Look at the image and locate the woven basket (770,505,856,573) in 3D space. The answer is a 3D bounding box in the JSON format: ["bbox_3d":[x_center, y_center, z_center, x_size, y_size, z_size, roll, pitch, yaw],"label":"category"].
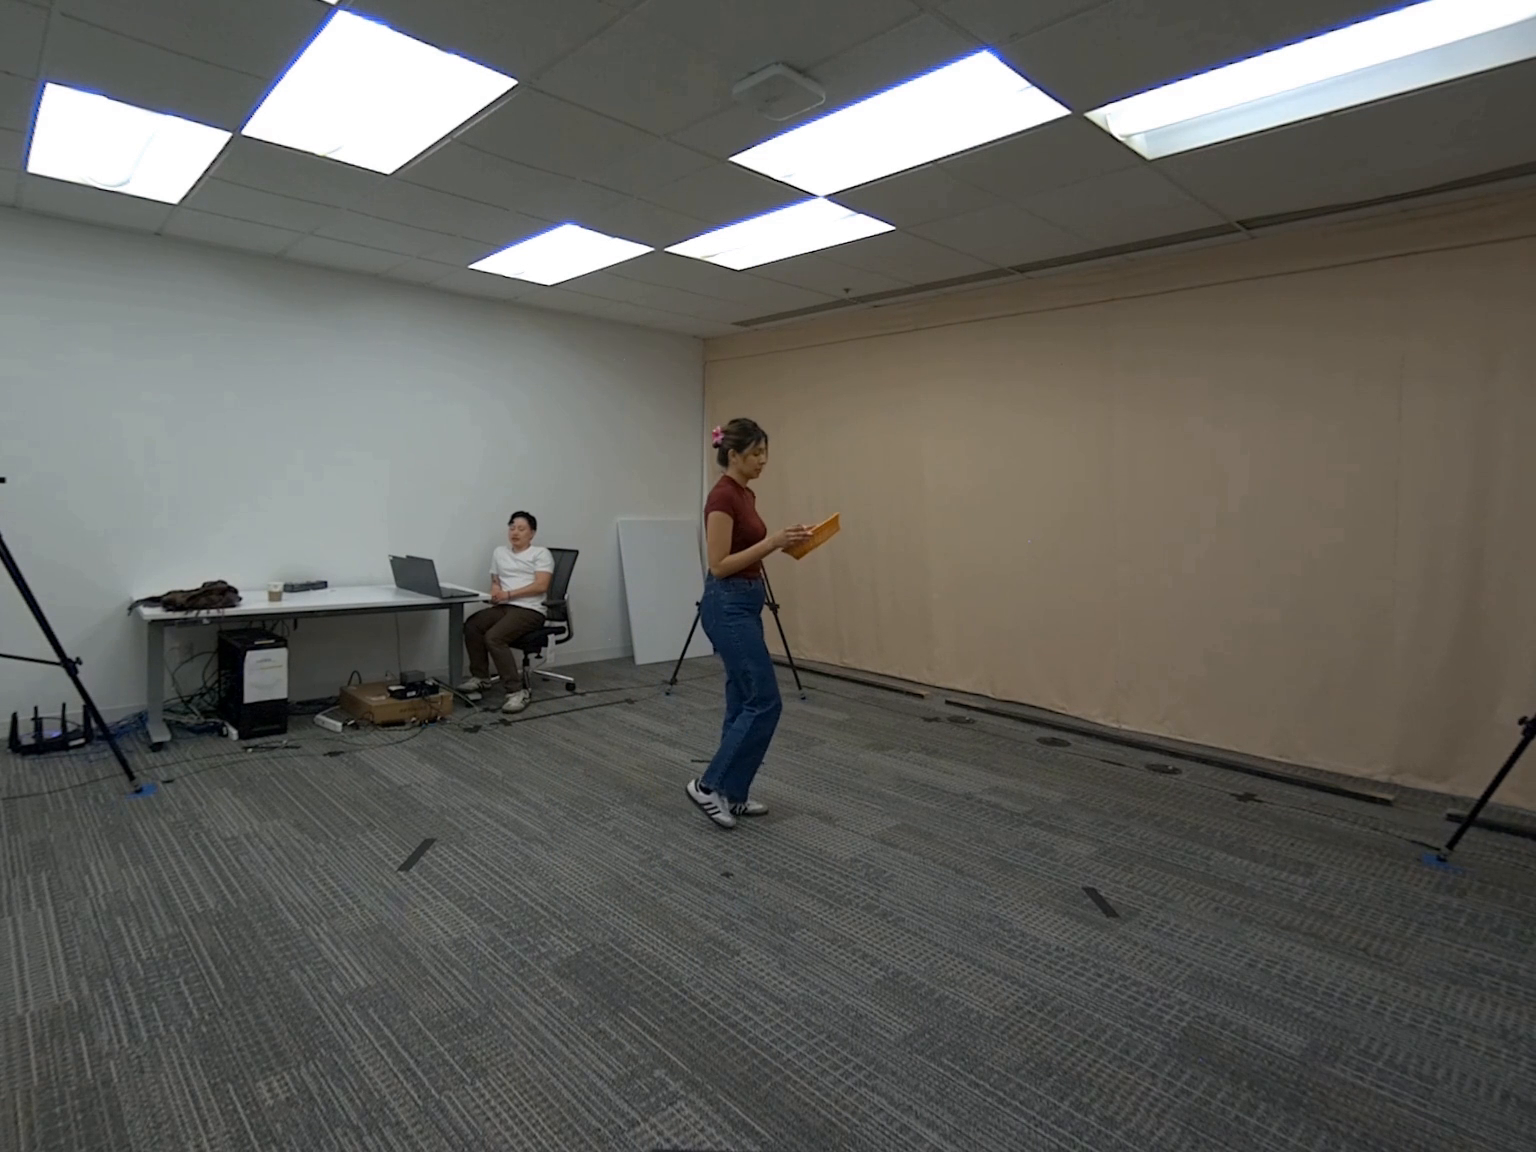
[{"bbox_3d":[0.190,-0.161,3.512,0.254,0.073,0.348,-33,2,29],"label":"woven basket"}]
